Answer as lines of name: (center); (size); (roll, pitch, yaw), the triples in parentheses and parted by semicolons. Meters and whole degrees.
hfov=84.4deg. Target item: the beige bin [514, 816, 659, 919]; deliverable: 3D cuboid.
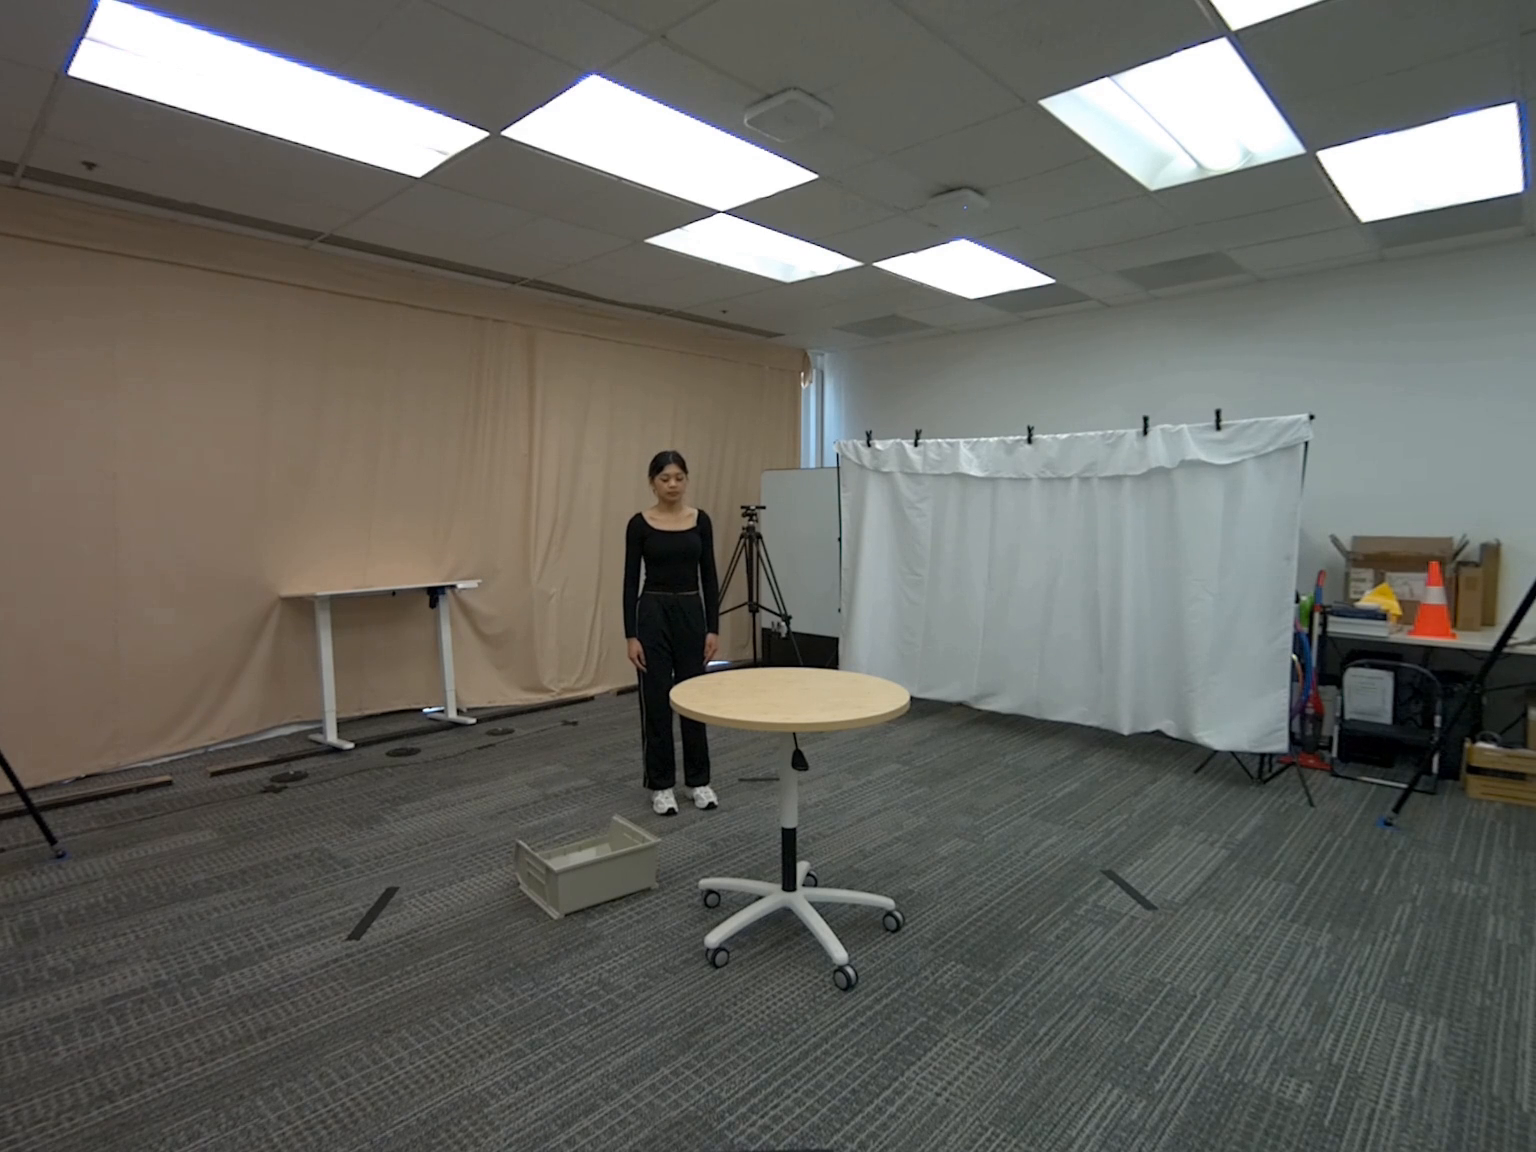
beige bin: (-0.671, 1.045, 3.097); (0.410, 0.188, 0.390); (-3, 6, -38)
